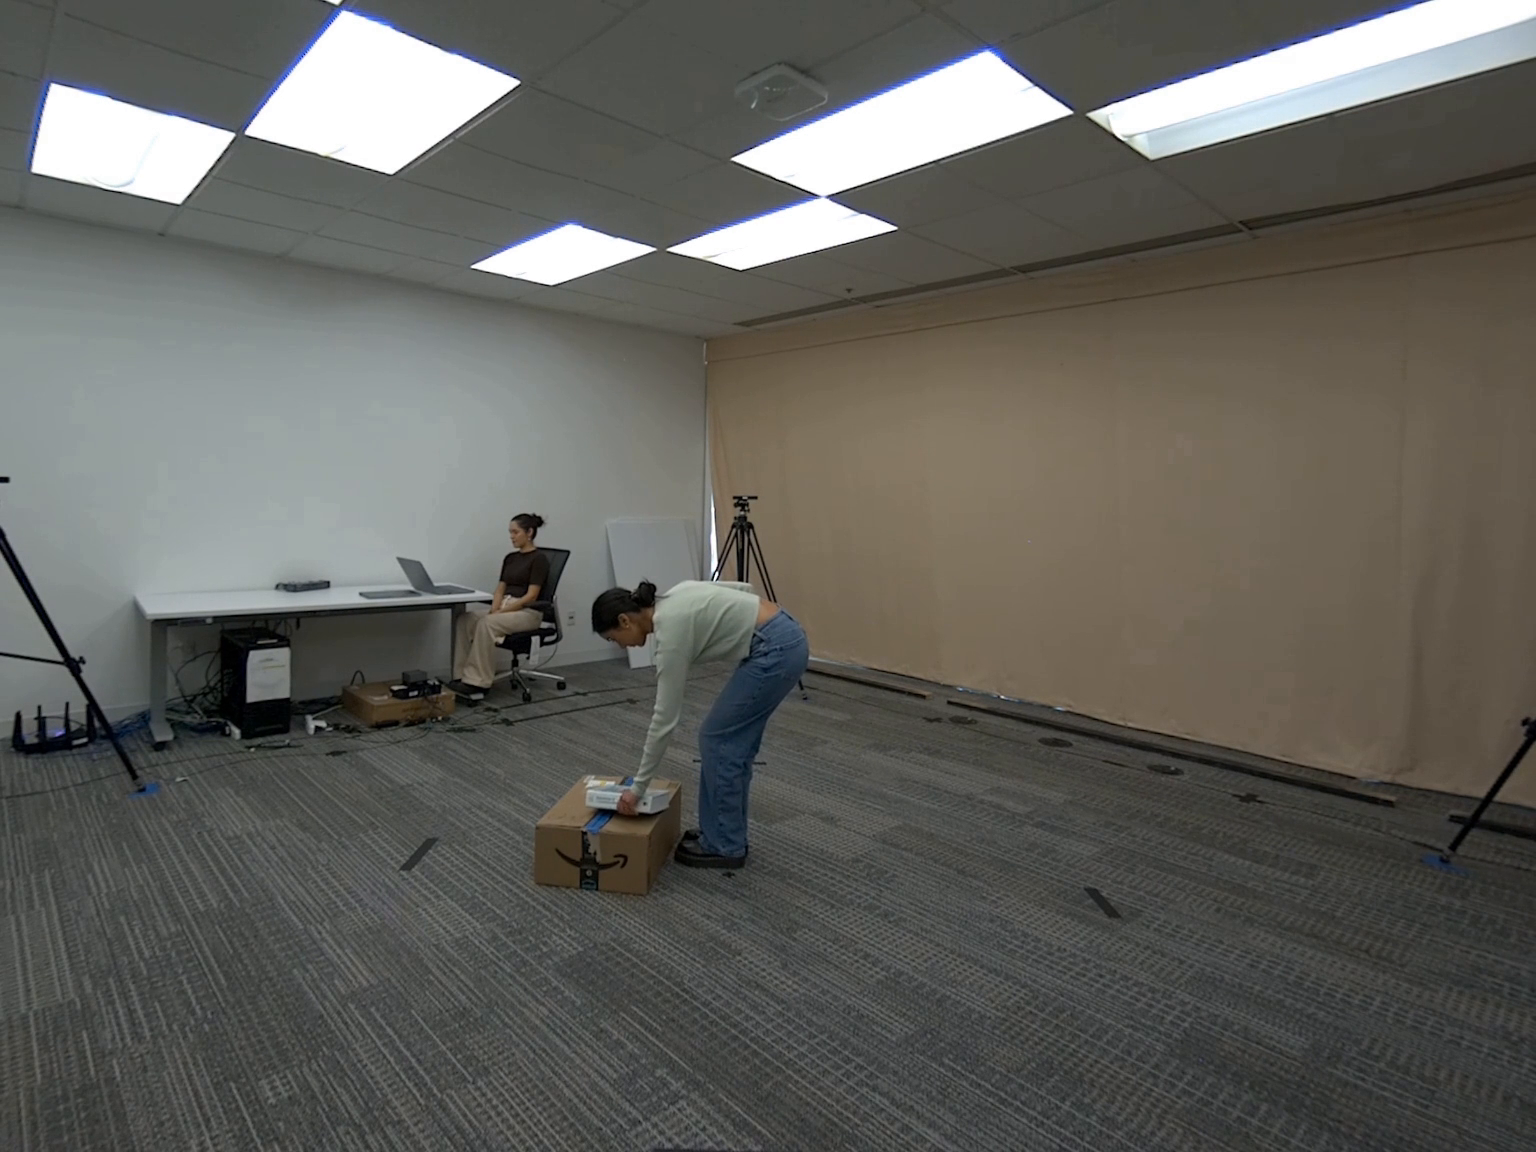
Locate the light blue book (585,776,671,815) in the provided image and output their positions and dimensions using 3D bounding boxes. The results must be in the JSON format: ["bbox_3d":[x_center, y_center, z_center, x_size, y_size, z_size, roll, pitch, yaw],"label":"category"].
[{"bbox_3d":[-0.523,0.835,3.163,0.265,0.059,0.188,1,-6,18],"label":"light blue book"}]
